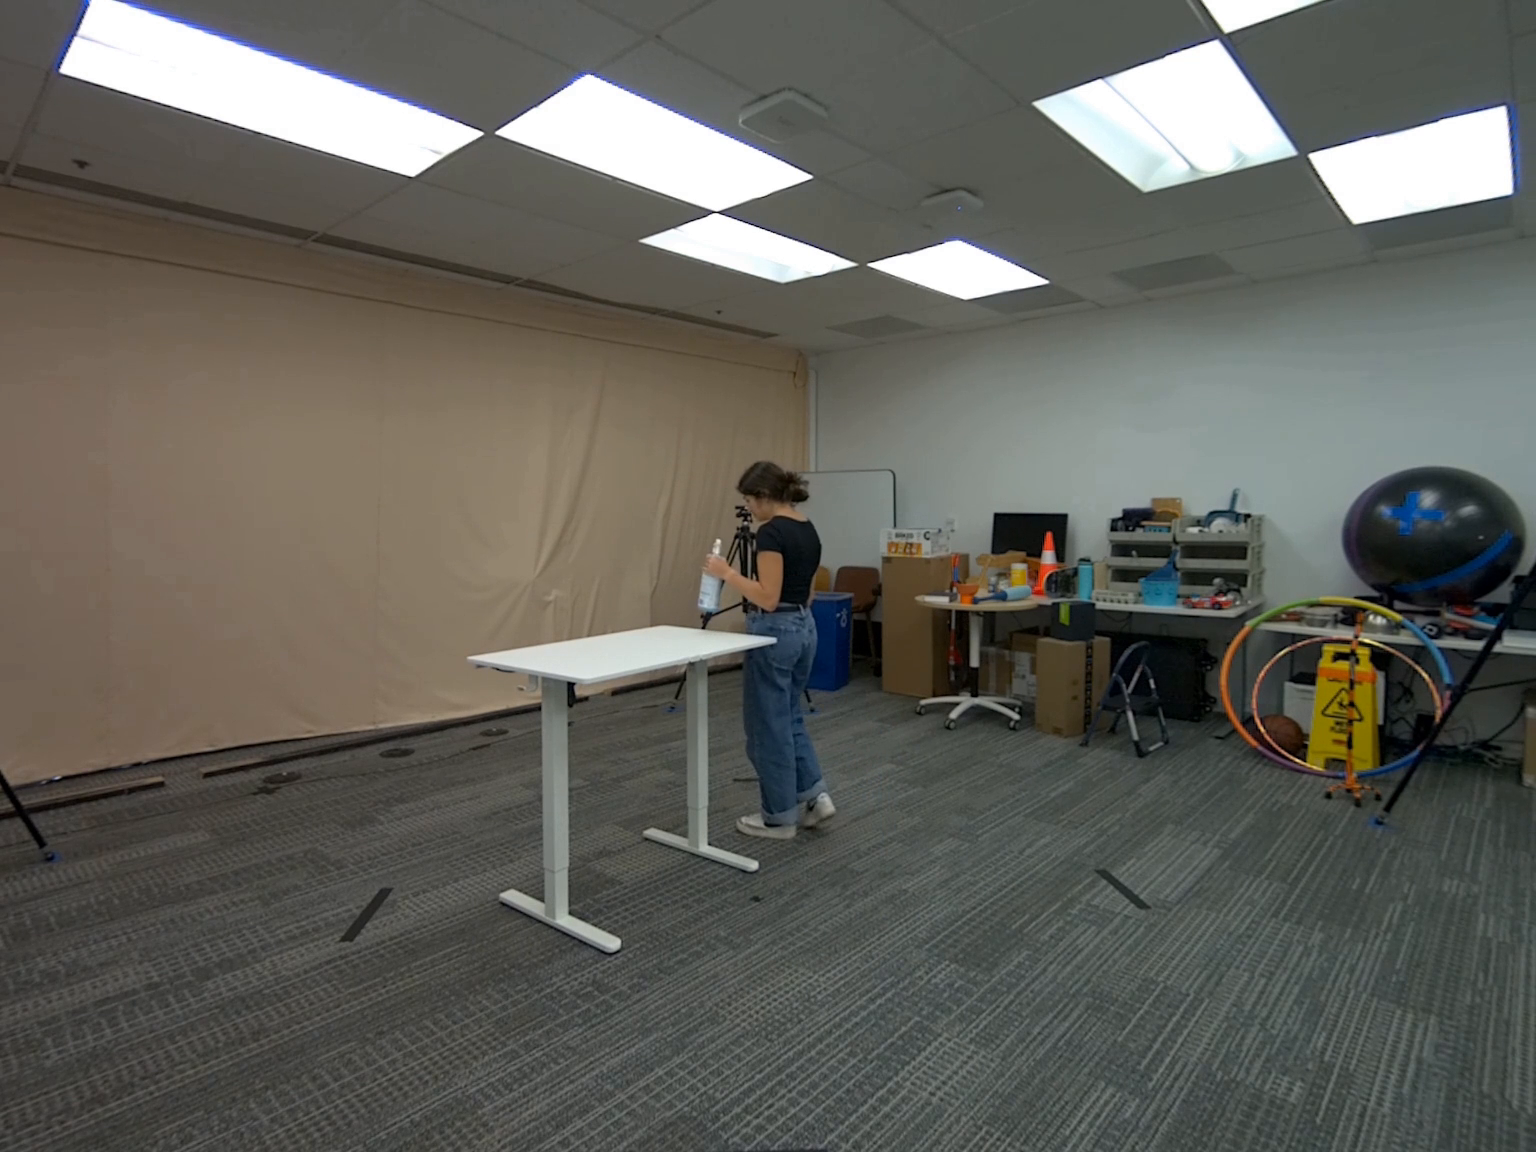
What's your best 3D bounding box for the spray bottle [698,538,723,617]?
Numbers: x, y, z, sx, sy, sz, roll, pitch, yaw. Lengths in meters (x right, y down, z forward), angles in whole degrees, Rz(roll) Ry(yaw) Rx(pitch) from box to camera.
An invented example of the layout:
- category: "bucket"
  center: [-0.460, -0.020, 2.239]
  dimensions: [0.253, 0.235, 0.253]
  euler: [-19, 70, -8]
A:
- category: "spray bottle"
  center: [-0.217, -0.003, 3.445]
  dimensions: [0.089, 0.296, 0.088]
  euler: [12, 11, 17]
